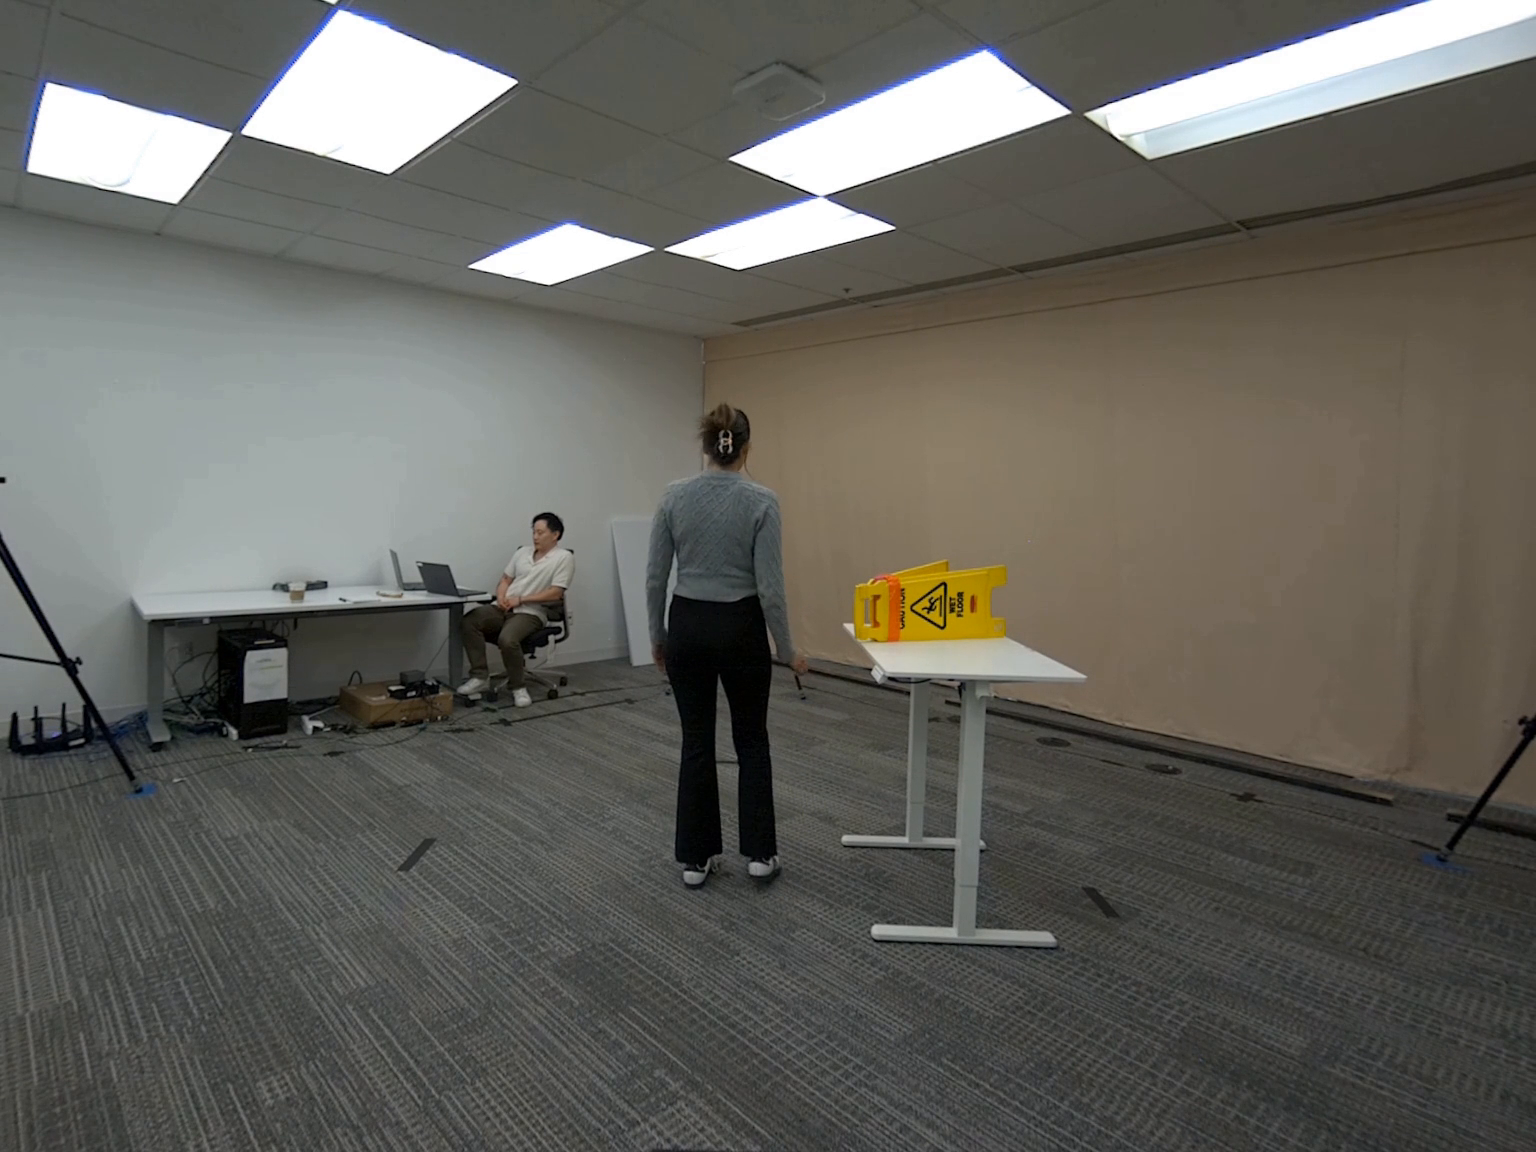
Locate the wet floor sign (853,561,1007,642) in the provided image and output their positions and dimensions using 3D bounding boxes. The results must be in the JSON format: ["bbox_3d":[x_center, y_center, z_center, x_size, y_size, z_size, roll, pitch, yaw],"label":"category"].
[{"bbox_3d":[0.563,0.110,3.181,0.633,0.281,0.297,-5,7,-35],"label":"wet floor sign"}]
